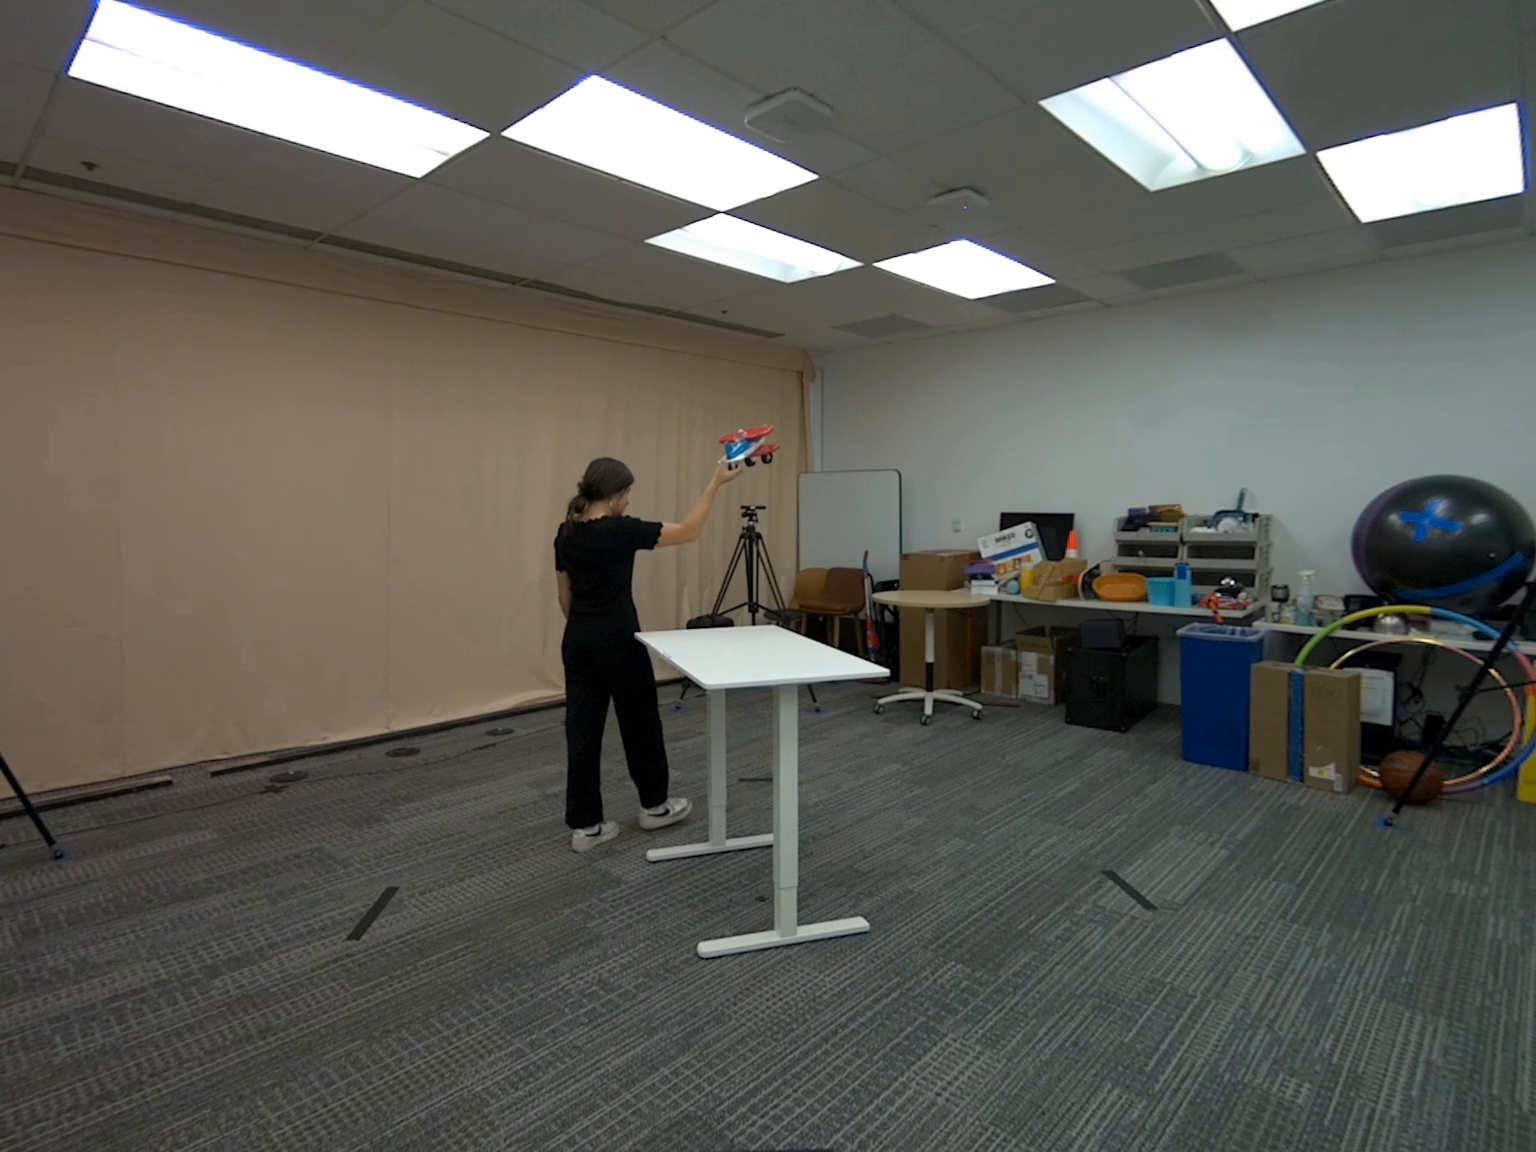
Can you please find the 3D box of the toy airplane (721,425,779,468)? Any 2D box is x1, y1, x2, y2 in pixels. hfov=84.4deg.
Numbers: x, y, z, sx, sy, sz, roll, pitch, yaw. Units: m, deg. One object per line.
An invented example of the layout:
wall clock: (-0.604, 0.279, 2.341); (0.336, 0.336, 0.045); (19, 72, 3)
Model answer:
toy airplane: (-0.070, -0.514, 3.420); (0.253, 0.155, 0.259); (-11, 11, 8)
